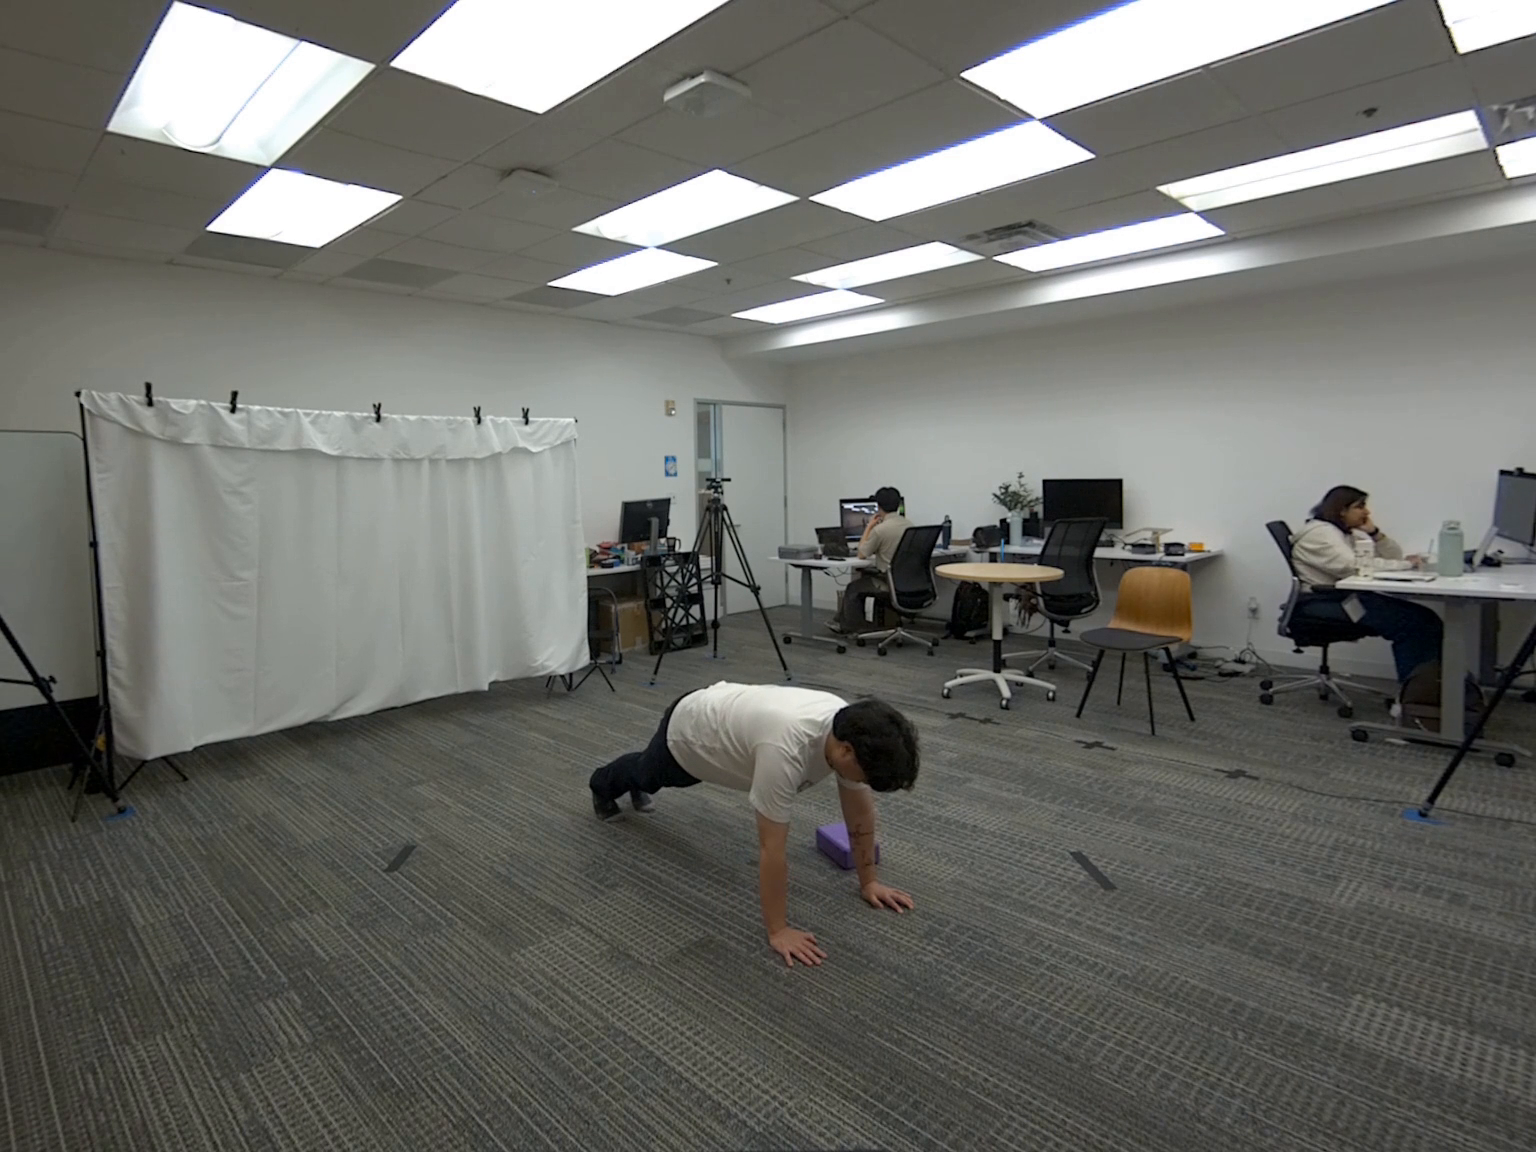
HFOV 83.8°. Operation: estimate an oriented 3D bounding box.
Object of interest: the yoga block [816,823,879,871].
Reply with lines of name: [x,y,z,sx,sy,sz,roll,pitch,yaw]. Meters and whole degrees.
yoga block: [0.292,0.987,3.150,0.146,0.076,0.235,-4,7,-24]
